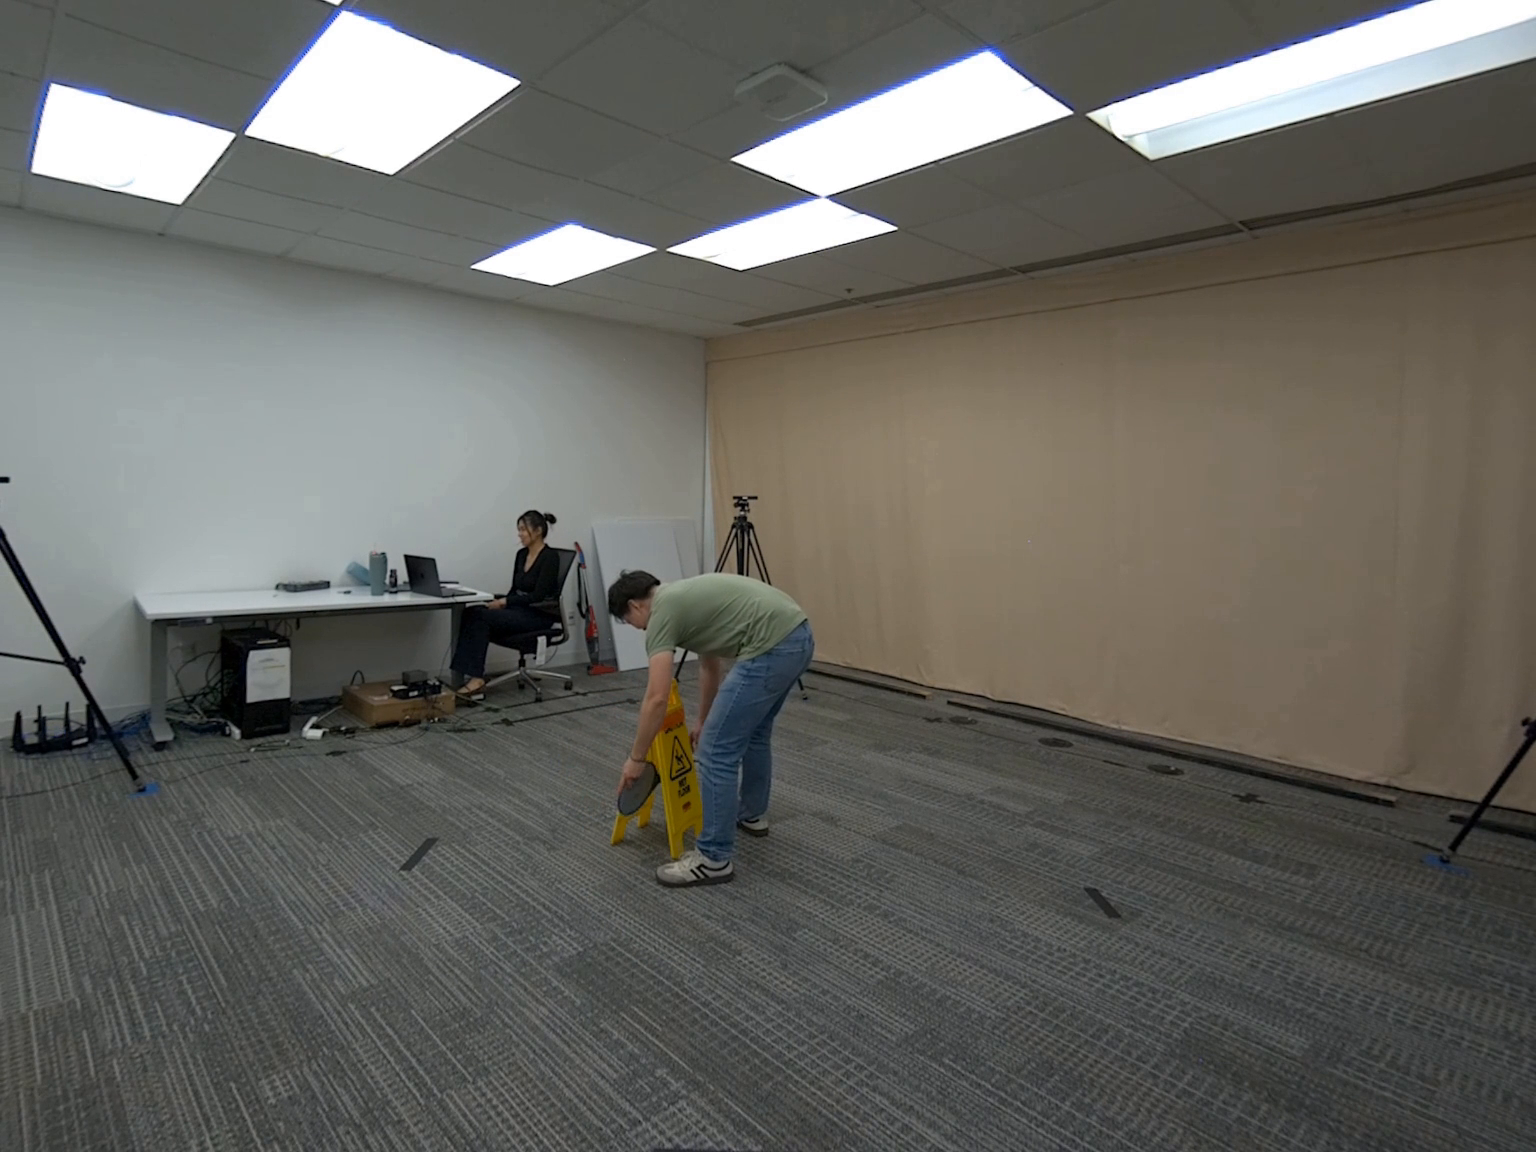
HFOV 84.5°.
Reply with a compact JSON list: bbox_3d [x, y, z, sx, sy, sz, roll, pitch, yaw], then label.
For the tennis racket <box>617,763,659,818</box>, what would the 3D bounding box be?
[{"bbox_3d":[-0.485,0.798,3.329,0.032,0.212,0.427,11,10,20],"label":"tennis racket"}]
